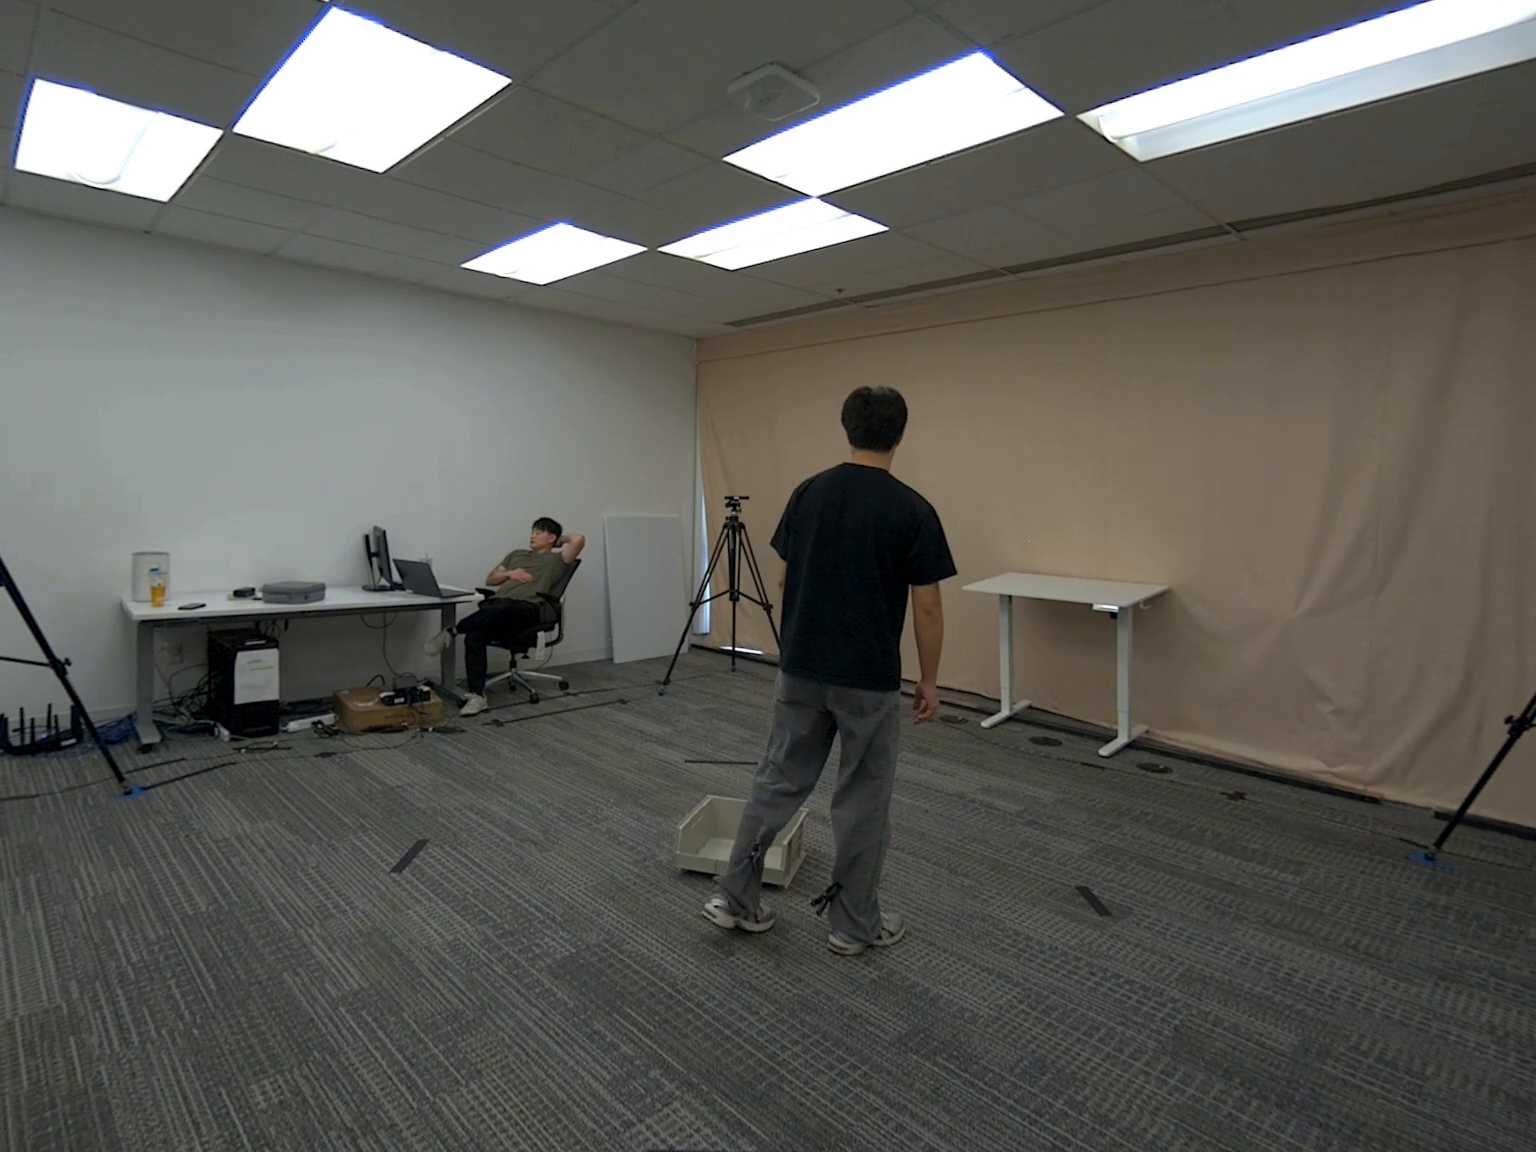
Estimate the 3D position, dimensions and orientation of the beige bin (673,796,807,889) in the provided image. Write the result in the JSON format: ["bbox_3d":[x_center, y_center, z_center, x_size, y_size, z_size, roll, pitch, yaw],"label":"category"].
[{"bbox_3d":[-0.098,1.009,3.188,0.428,0.188,0.373,3,4,17],"label":"beige bin"}]
